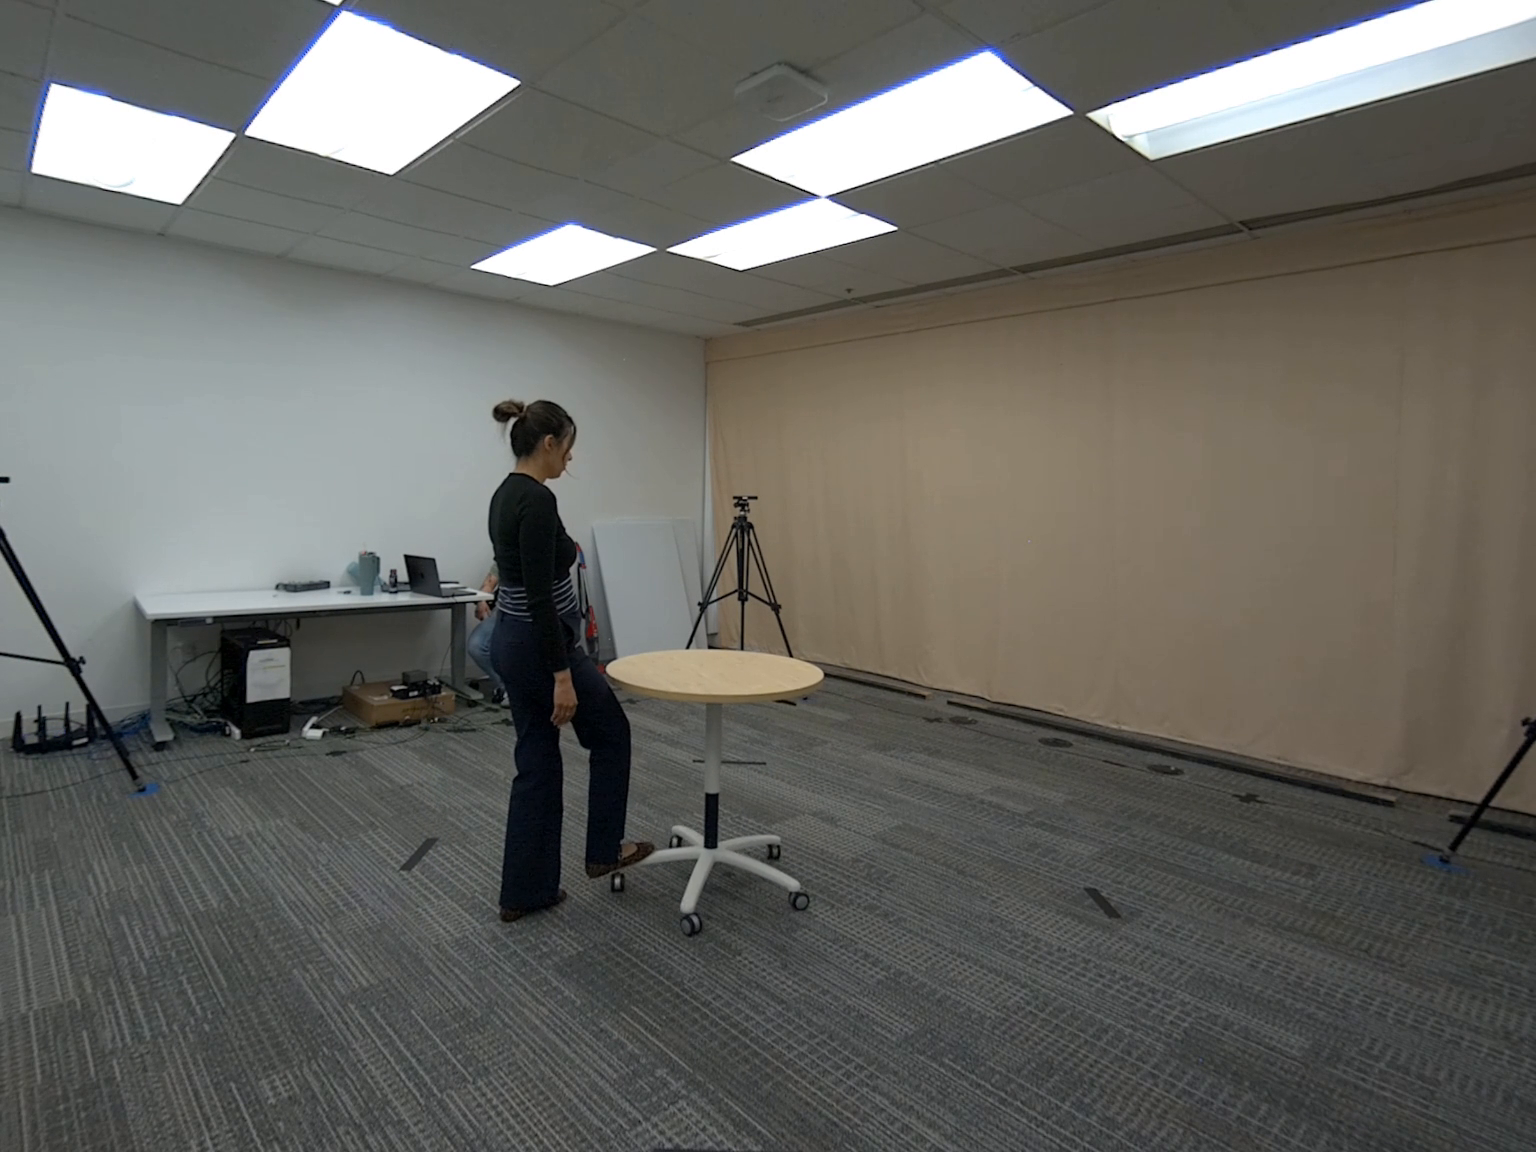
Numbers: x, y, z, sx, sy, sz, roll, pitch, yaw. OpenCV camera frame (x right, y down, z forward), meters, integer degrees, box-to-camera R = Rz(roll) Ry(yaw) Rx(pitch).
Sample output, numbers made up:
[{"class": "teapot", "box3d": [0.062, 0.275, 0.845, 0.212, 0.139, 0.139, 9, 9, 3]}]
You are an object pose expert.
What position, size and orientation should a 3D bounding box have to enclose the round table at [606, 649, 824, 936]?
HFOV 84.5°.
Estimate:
[{"class": "round table", "box3d": [-0.203, 0.723, 3.001, 0.763, 0.792, 0.766, 1, 4, -1]}]
